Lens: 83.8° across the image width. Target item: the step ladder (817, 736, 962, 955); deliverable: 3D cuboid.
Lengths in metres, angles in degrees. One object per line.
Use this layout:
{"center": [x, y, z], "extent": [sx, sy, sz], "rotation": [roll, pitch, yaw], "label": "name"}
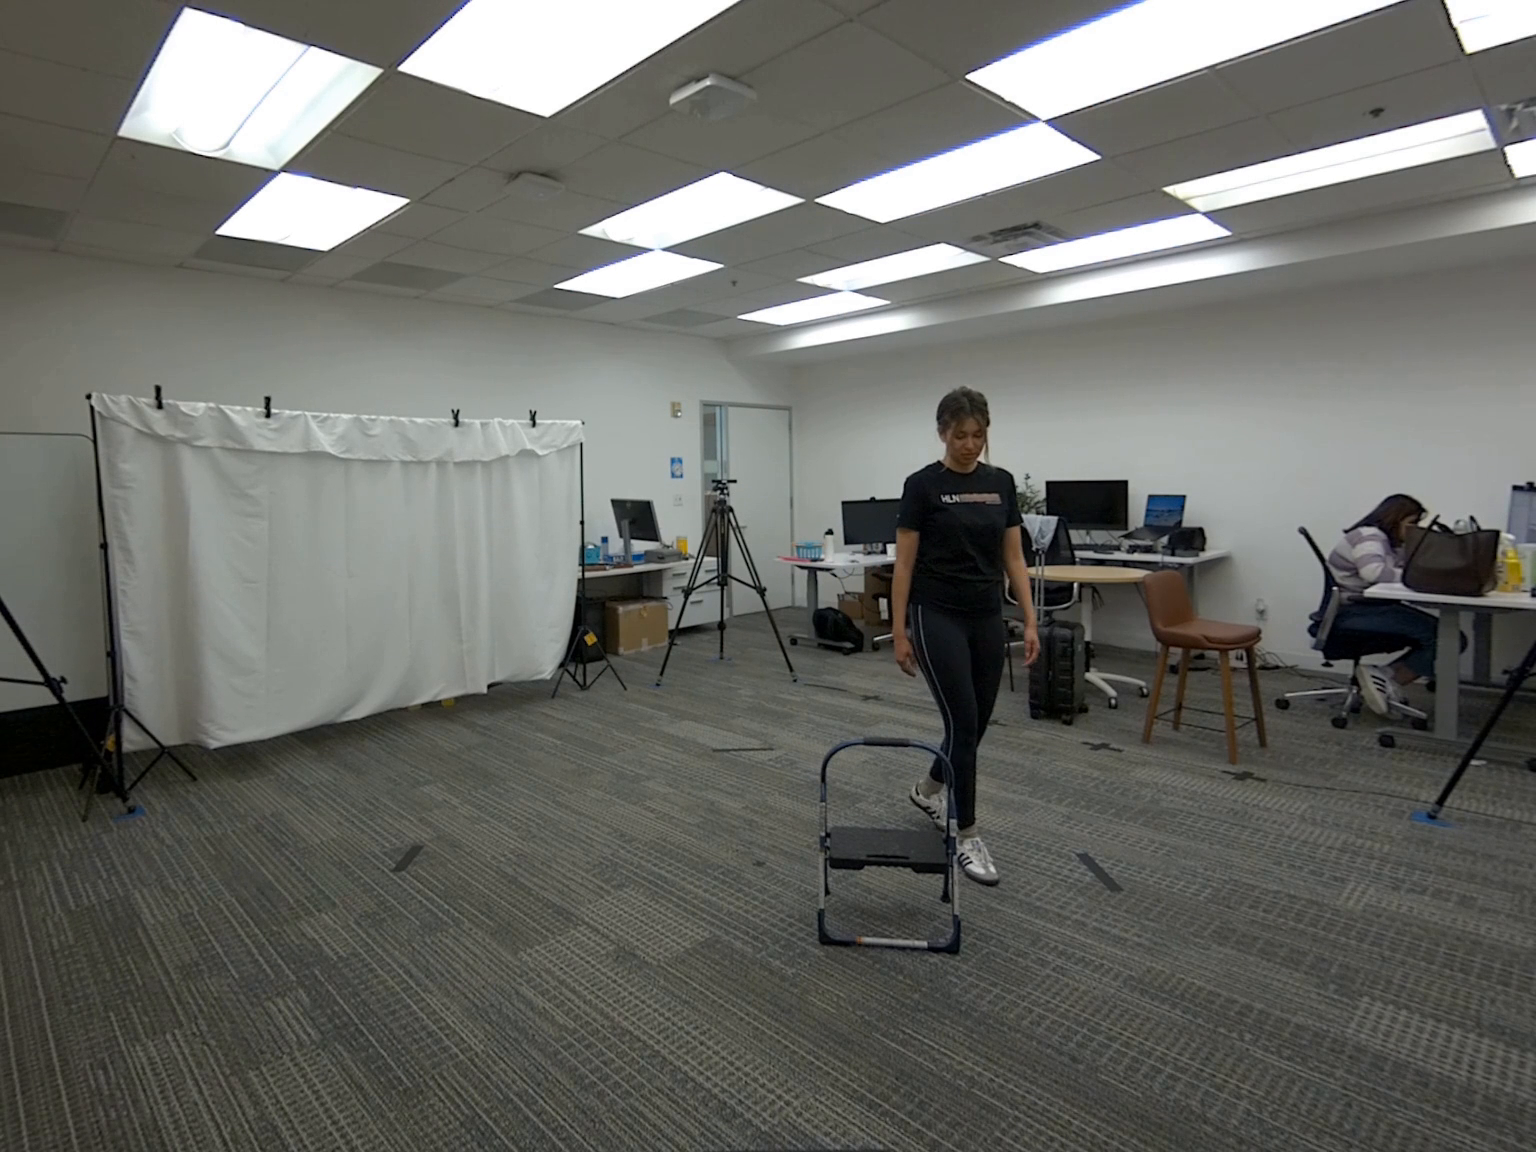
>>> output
{"center": [0.372, 0.789, 2.675], "extent": [0.434, 0.604, 0.348], "rotation": [0, 4, 7], "label": "step ladder"}
